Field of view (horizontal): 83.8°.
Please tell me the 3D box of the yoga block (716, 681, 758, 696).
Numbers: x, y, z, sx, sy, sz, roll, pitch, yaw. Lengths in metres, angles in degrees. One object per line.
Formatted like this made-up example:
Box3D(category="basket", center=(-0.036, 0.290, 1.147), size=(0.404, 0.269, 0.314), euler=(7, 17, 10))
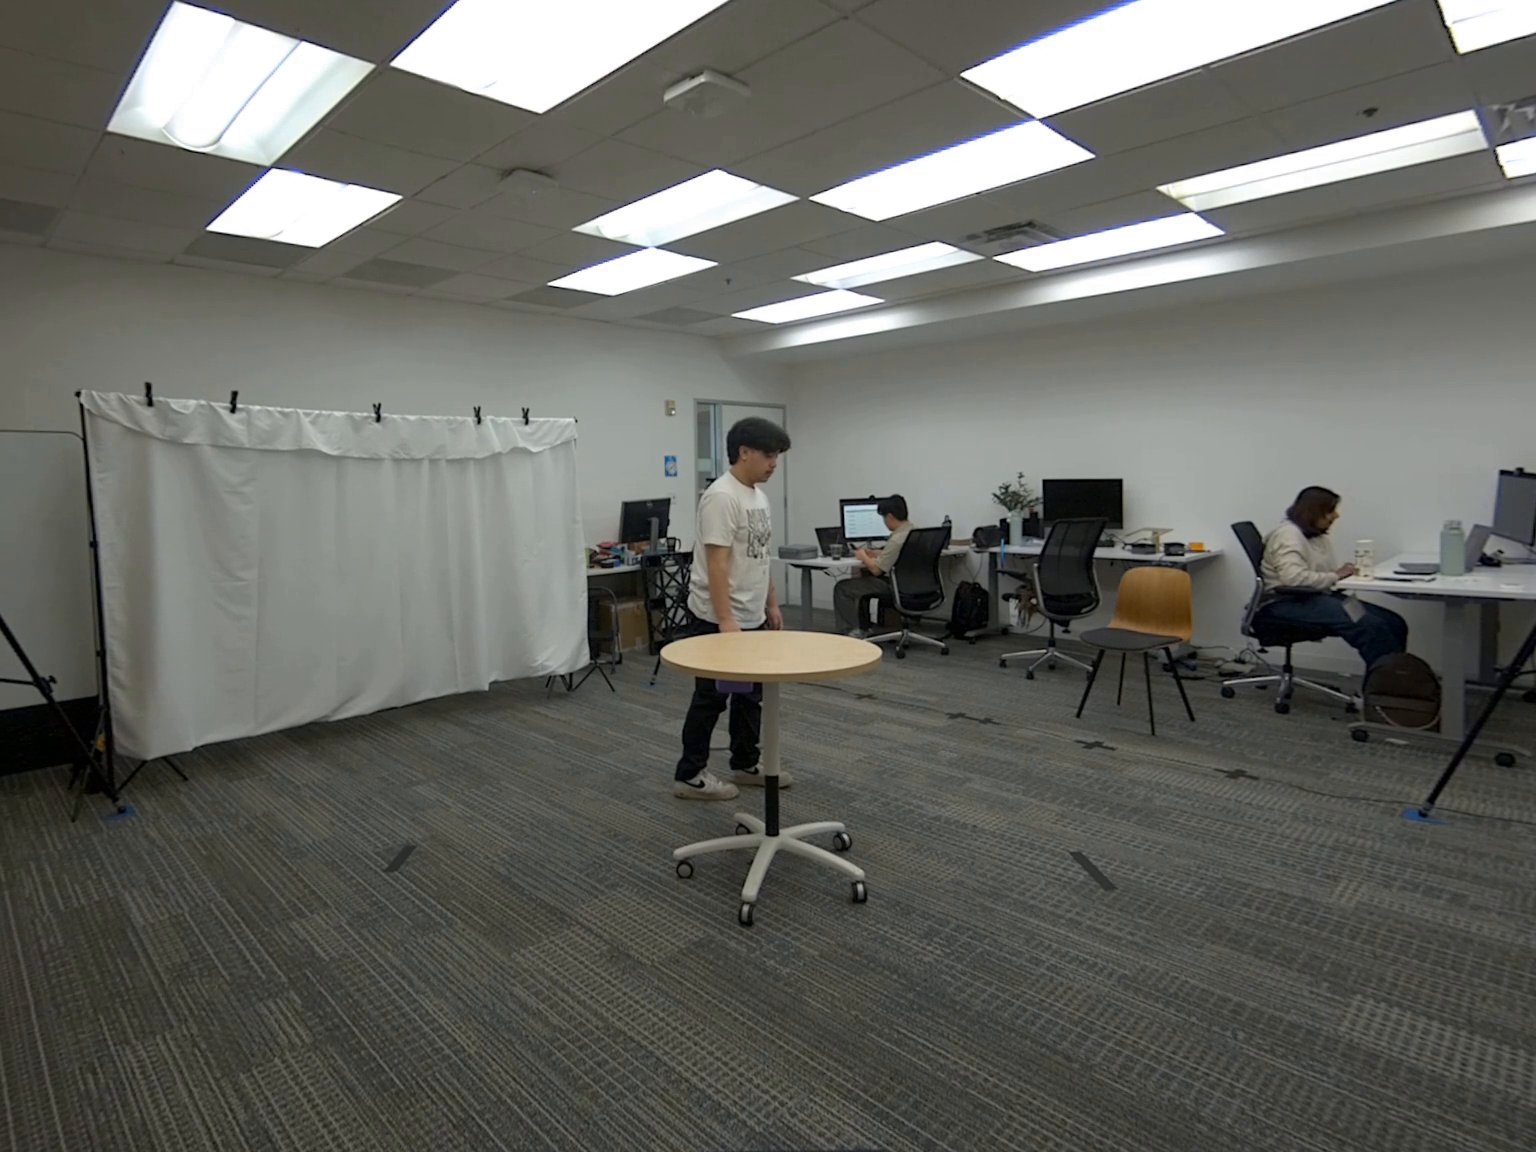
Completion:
Box3D(category="yoga block", center=(-0.150, 0.373, 3.545), size=(0.148, 0.227, 0.077), euler=(2, 12, -4))
